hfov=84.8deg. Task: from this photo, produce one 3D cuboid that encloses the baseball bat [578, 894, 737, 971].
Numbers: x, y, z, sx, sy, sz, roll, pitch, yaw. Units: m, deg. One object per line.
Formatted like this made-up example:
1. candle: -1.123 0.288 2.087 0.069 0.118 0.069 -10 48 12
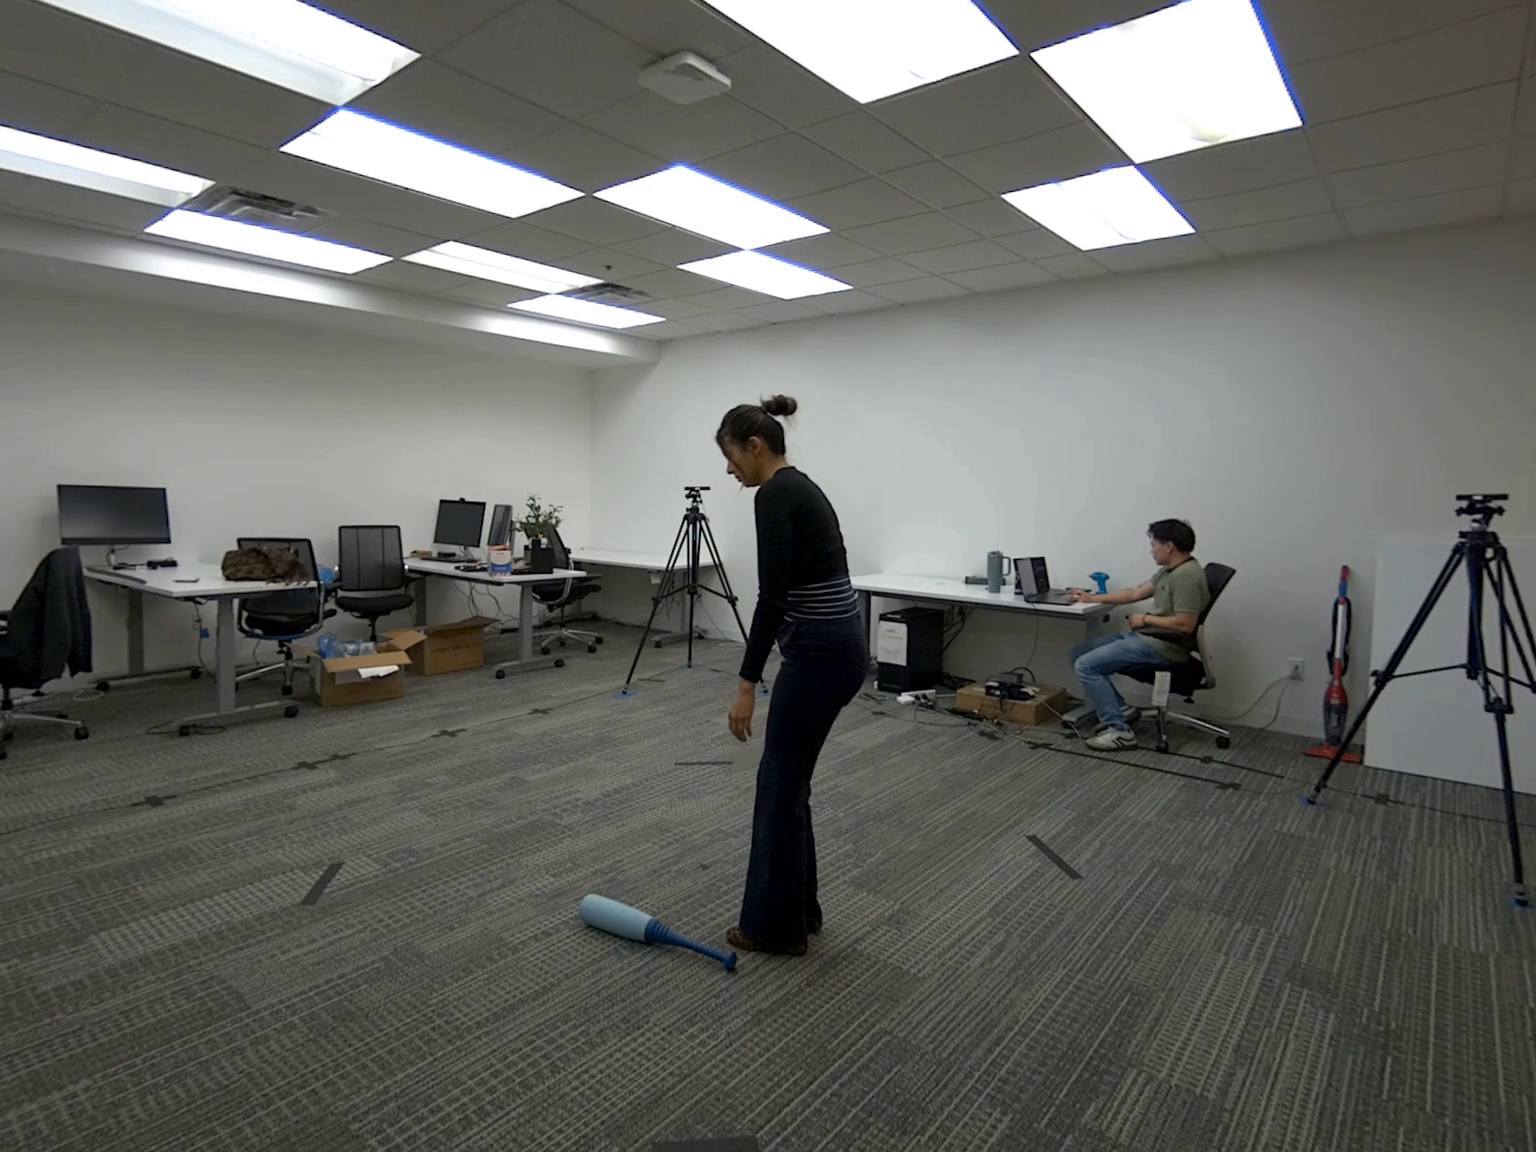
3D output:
1. baseball bat: -0.352 1.082 2.577 0.559 0.088 0.087 7 7 28
